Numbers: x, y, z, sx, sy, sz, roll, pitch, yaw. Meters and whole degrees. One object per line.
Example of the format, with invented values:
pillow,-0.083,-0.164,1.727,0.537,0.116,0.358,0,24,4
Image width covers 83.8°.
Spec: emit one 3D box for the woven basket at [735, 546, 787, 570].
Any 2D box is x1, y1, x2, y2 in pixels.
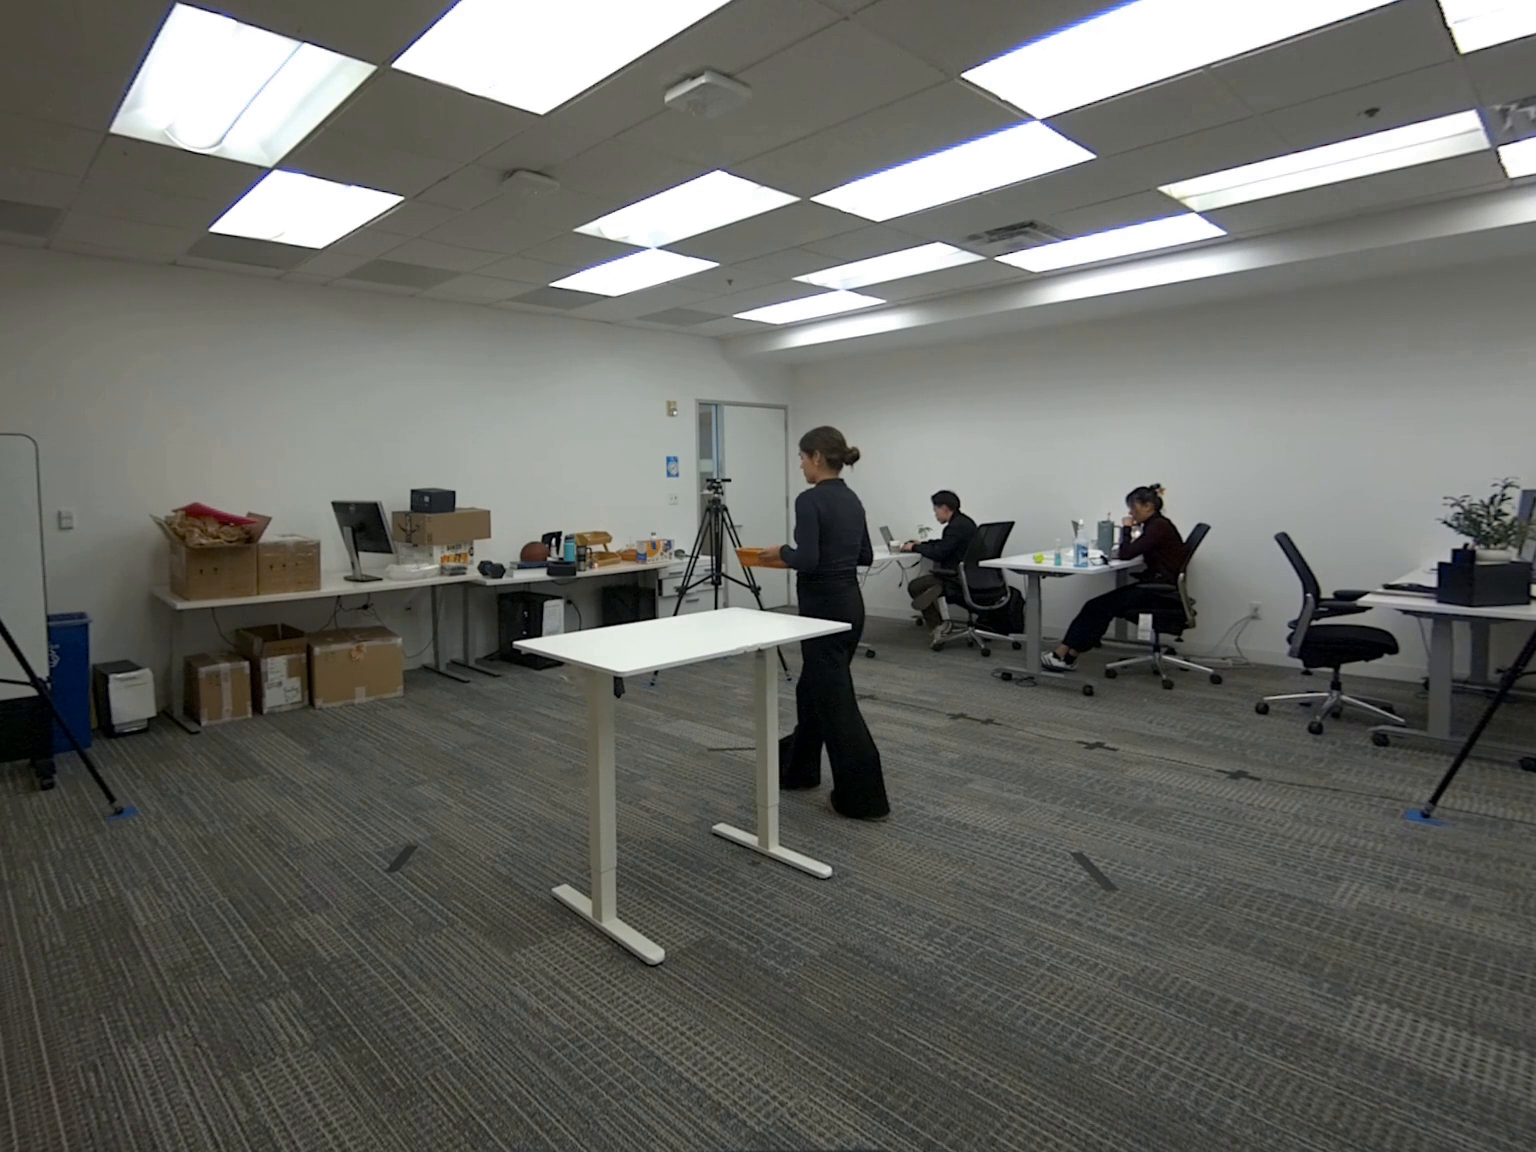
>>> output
woven basket,0.021,-0.088,3.827,0.246,0.073,0.361,-4,7,-34
